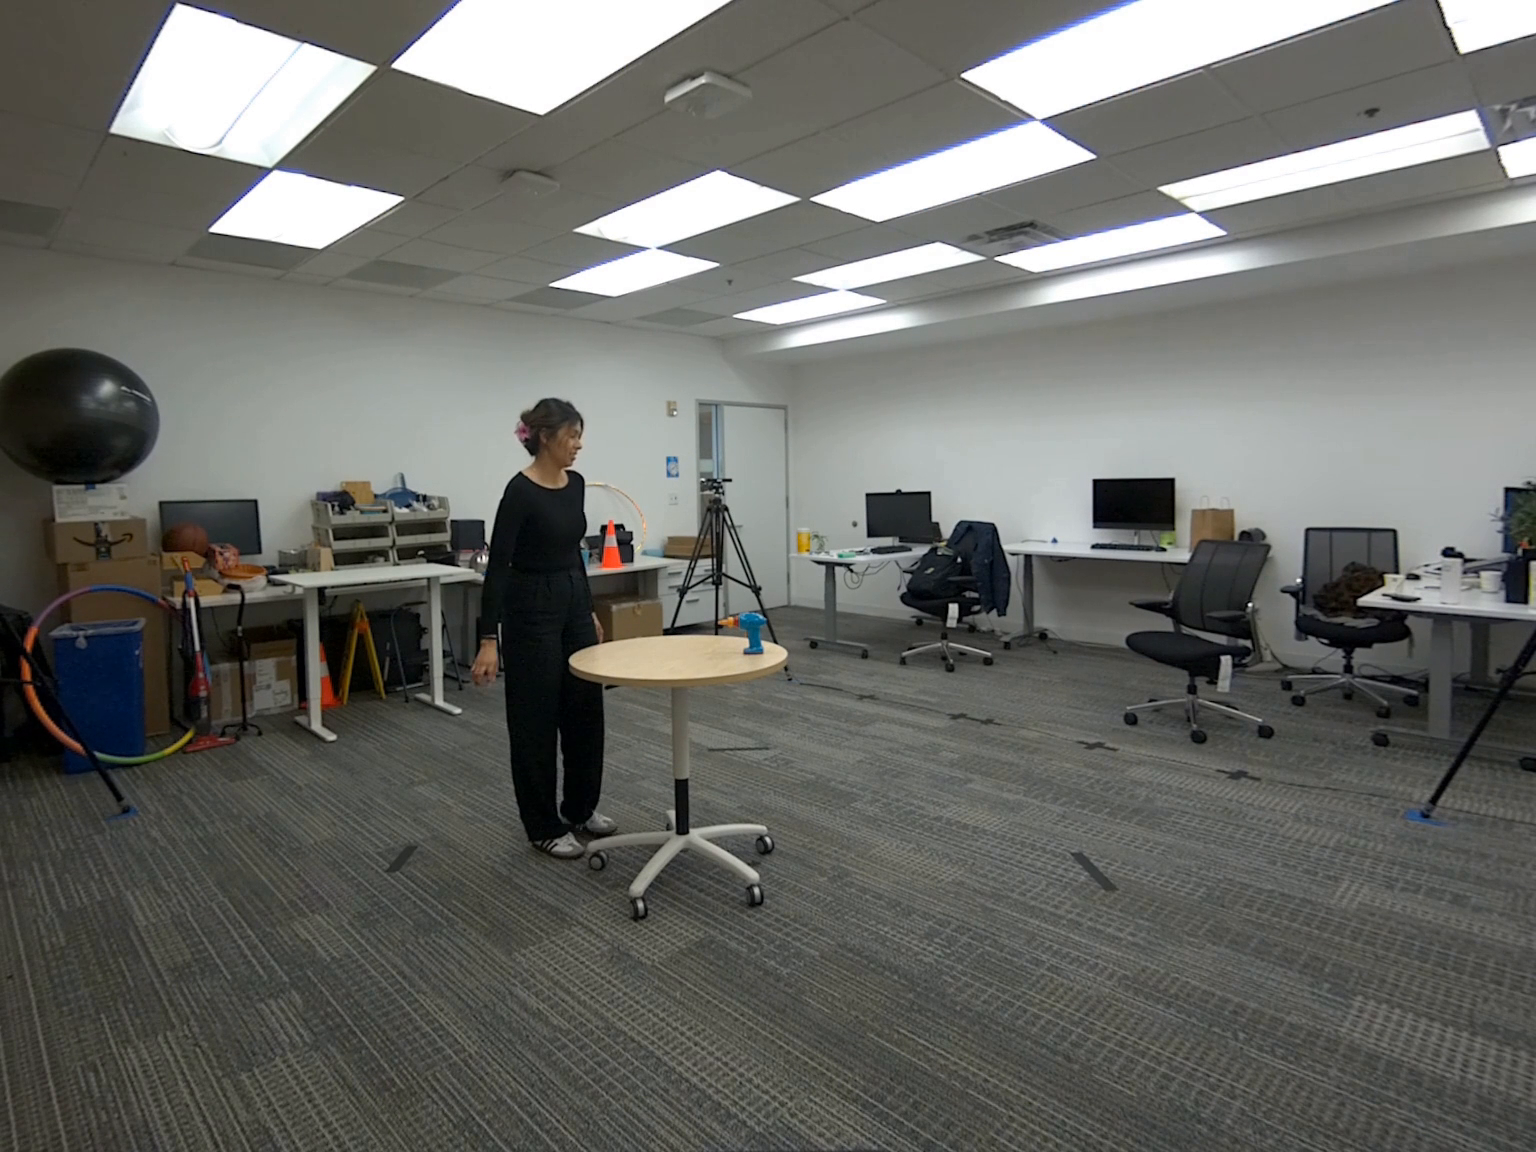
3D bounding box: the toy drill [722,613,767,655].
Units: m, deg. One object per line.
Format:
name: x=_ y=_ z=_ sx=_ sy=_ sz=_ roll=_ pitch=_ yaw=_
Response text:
toy drill: x=-0.100 y=0.199 z=2.995 sx=0.170 sy=0.145 sz=0.061 roll=-2 pitch=4 yaw=1
